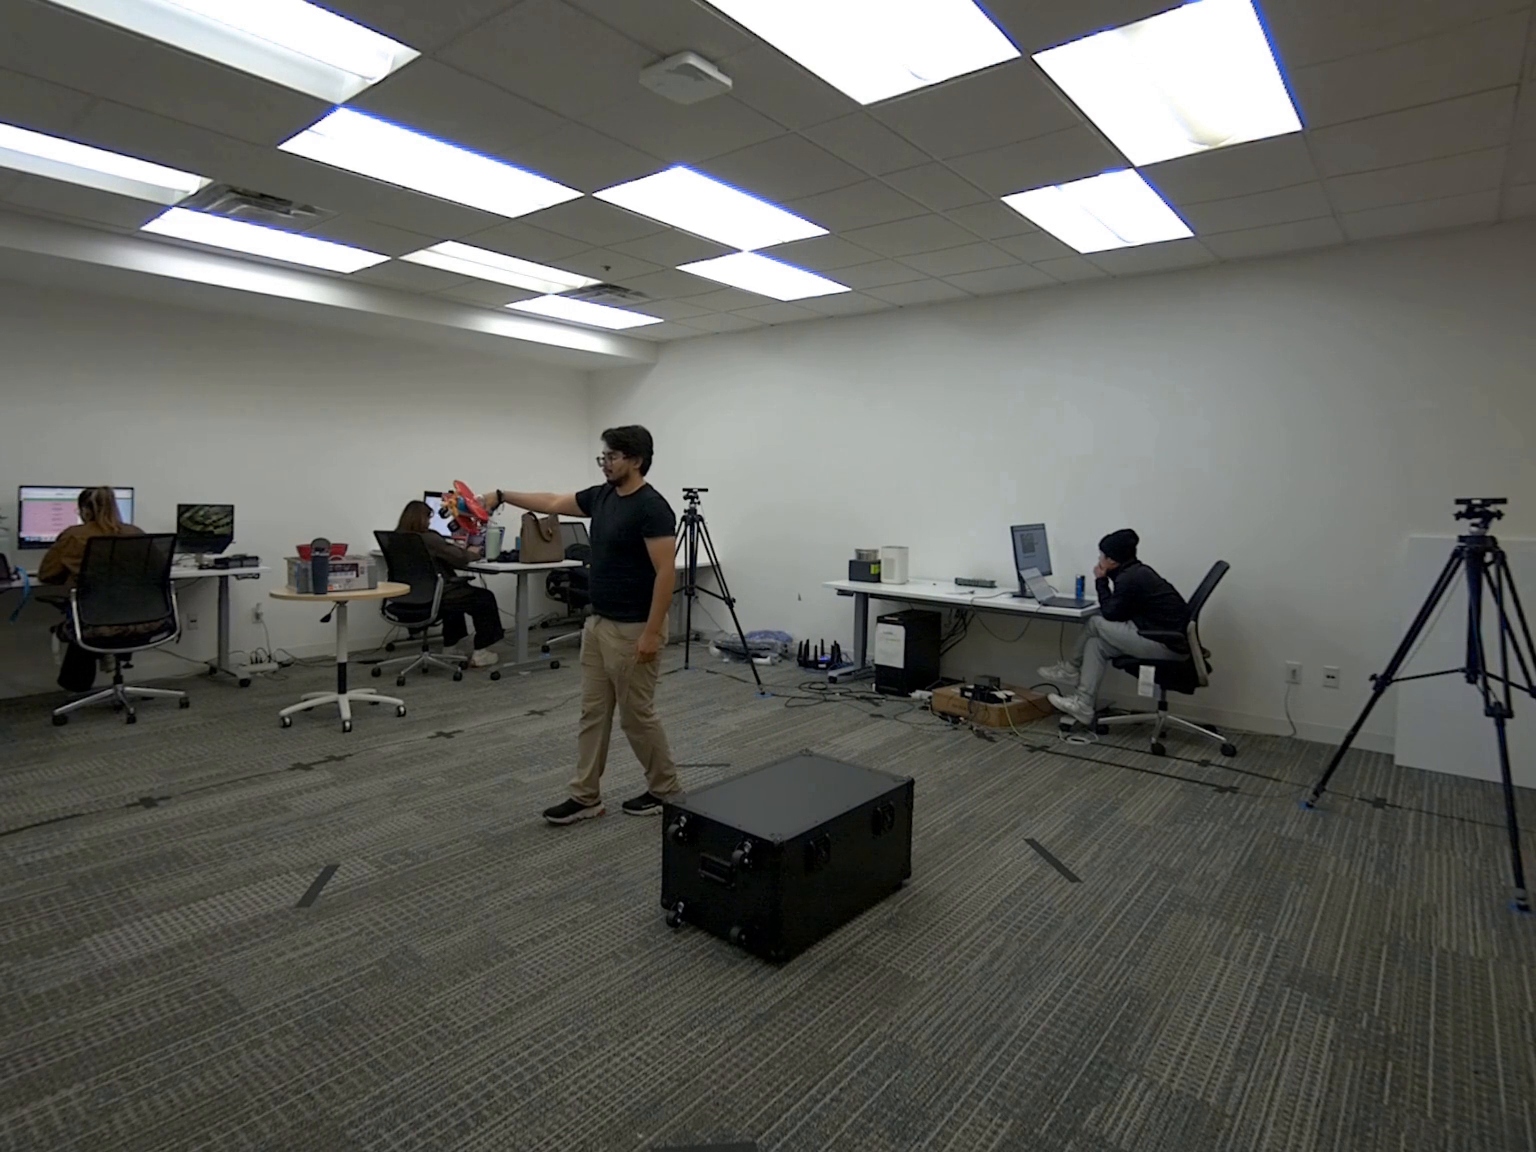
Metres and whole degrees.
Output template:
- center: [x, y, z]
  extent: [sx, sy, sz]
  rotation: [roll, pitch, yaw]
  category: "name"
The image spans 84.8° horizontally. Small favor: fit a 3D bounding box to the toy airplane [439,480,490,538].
- center: [-1.327, -0.306, 3.714]
  extent: [0.251, 0.156, 0.261]
  rotation: [36, 26, -3]
  category: "toy airplane"
